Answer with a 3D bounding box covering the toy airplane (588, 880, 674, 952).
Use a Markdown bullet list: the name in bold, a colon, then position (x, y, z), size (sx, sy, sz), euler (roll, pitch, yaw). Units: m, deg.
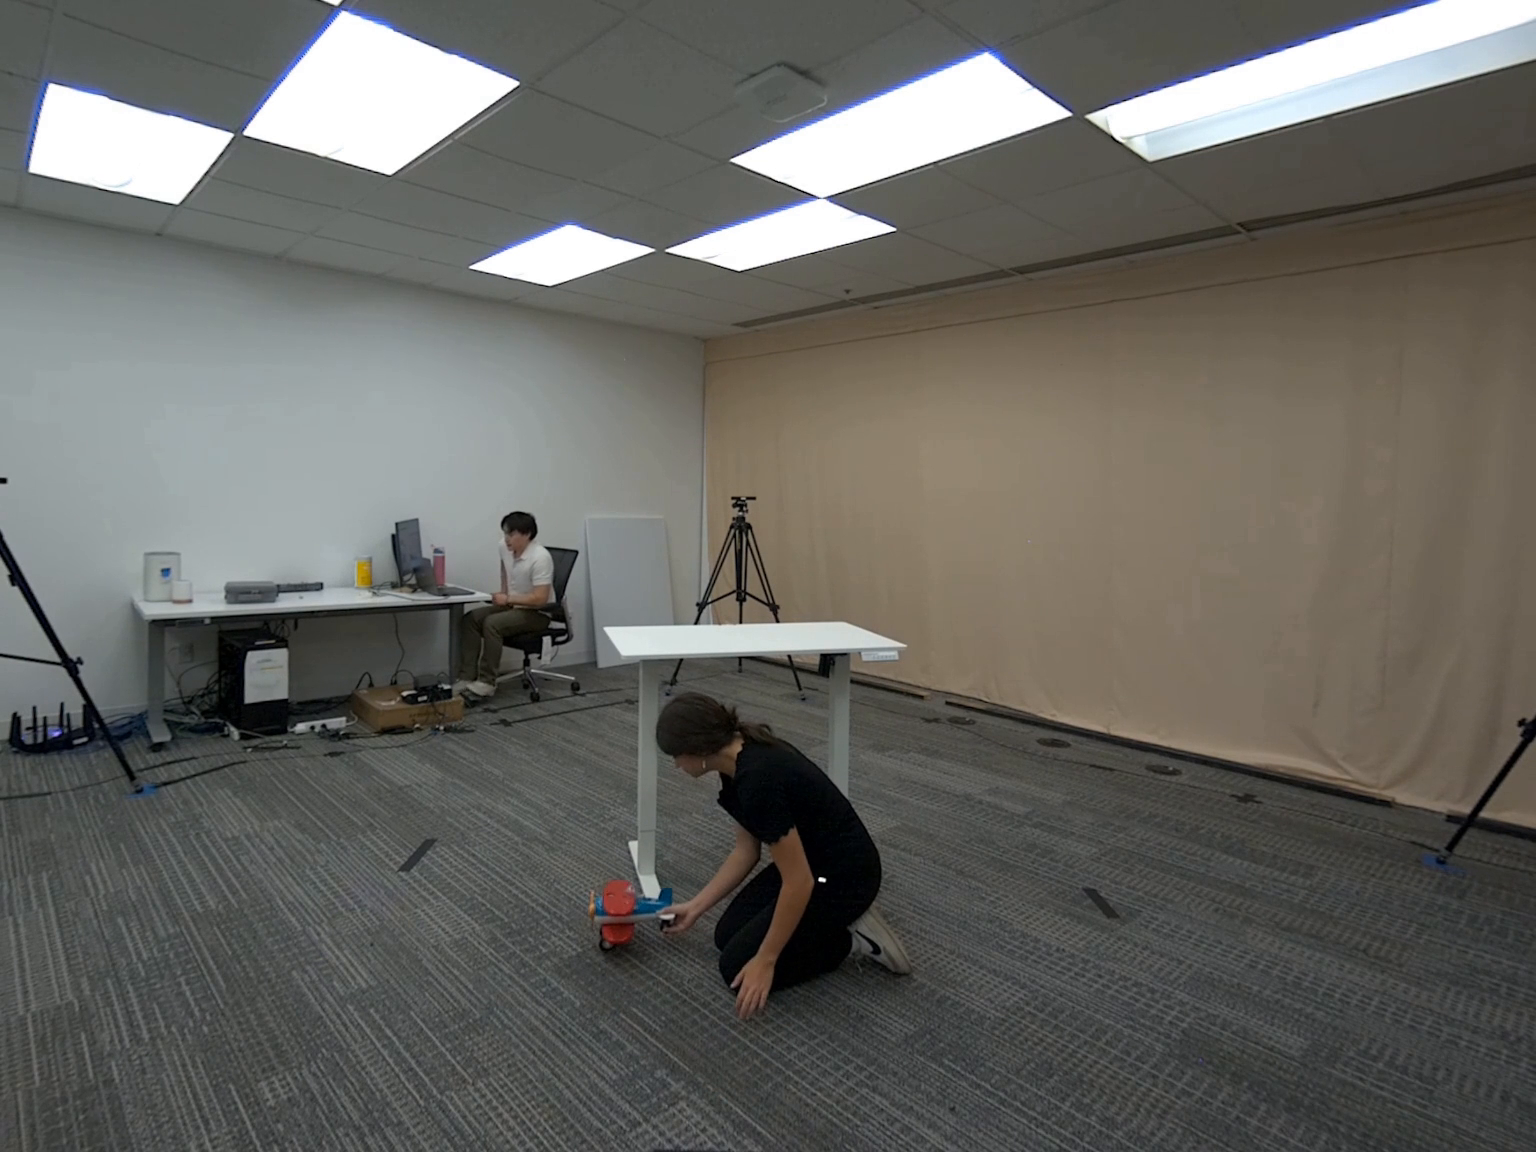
- **toy airplane**: position (-0.424, 1.039, 2.604), size (0.255, 0.156, 0.256), euler (-15, 4, -36)
